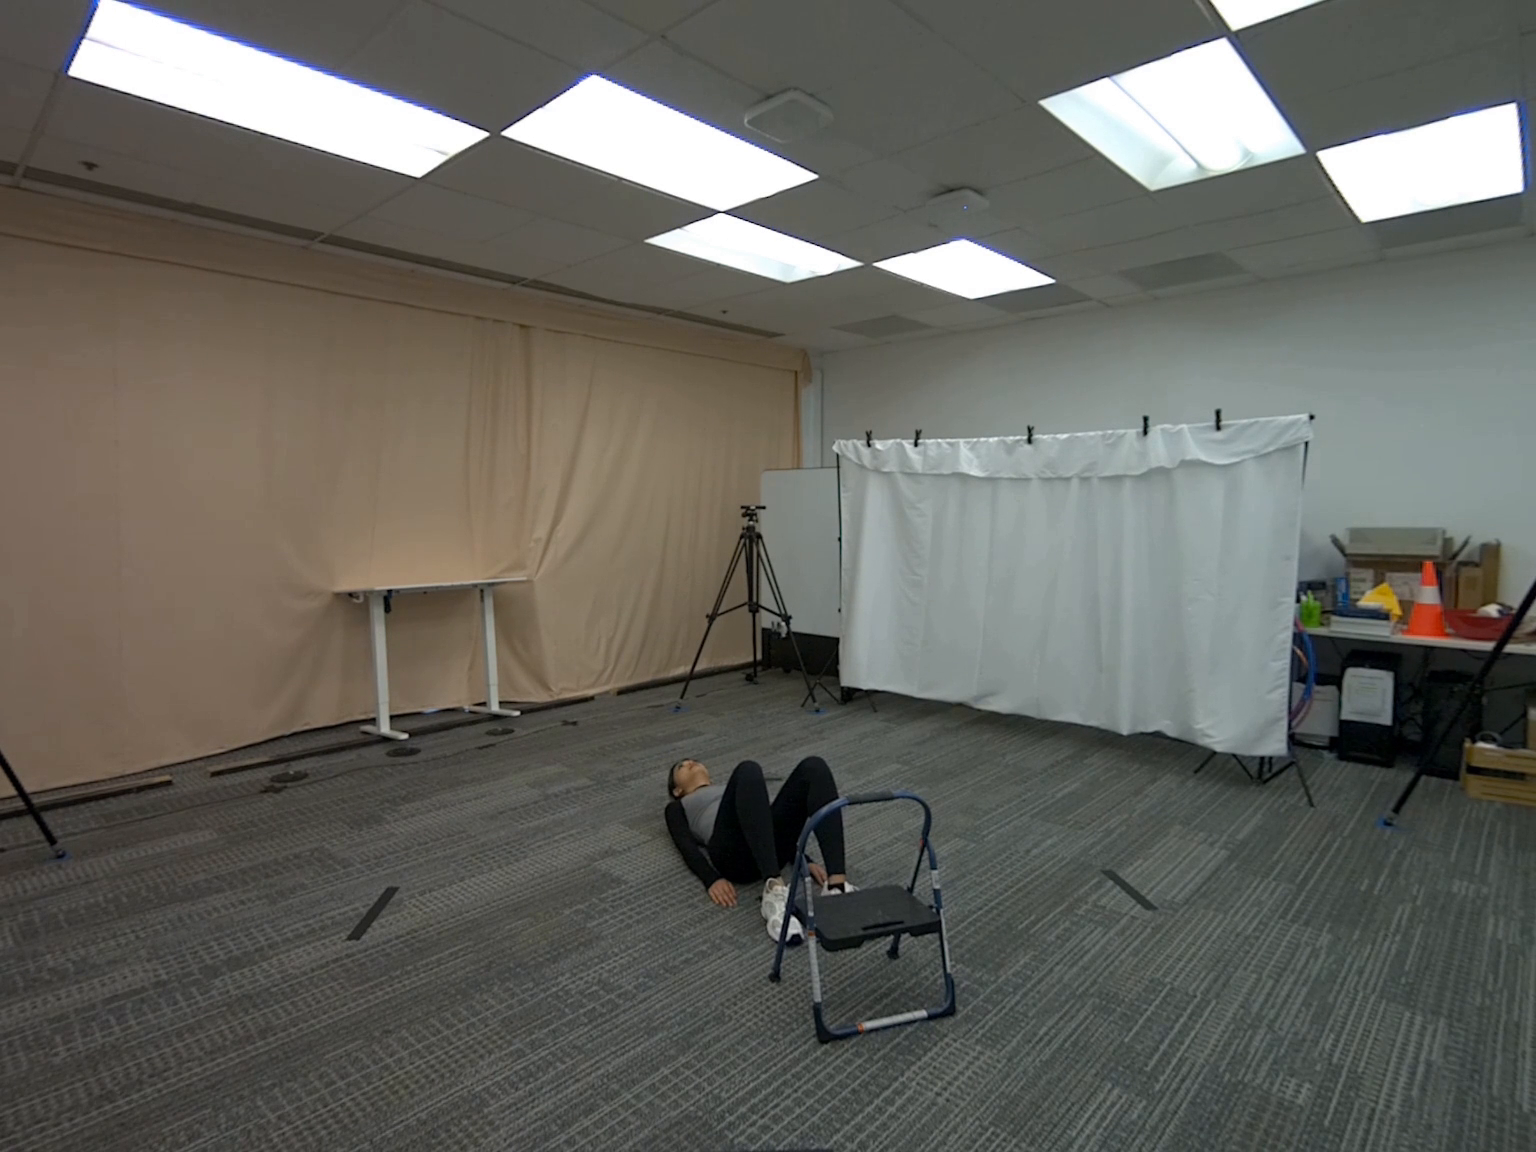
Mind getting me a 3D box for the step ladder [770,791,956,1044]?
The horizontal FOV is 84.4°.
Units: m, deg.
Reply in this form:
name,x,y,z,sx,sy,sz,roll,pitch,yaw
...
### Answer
name,x,y,z,sx,sy,sz,roll,pitch,yaw
step ladder,0.270,0.894,2.382,0.422,0.605,0.357,-1,3,-21
